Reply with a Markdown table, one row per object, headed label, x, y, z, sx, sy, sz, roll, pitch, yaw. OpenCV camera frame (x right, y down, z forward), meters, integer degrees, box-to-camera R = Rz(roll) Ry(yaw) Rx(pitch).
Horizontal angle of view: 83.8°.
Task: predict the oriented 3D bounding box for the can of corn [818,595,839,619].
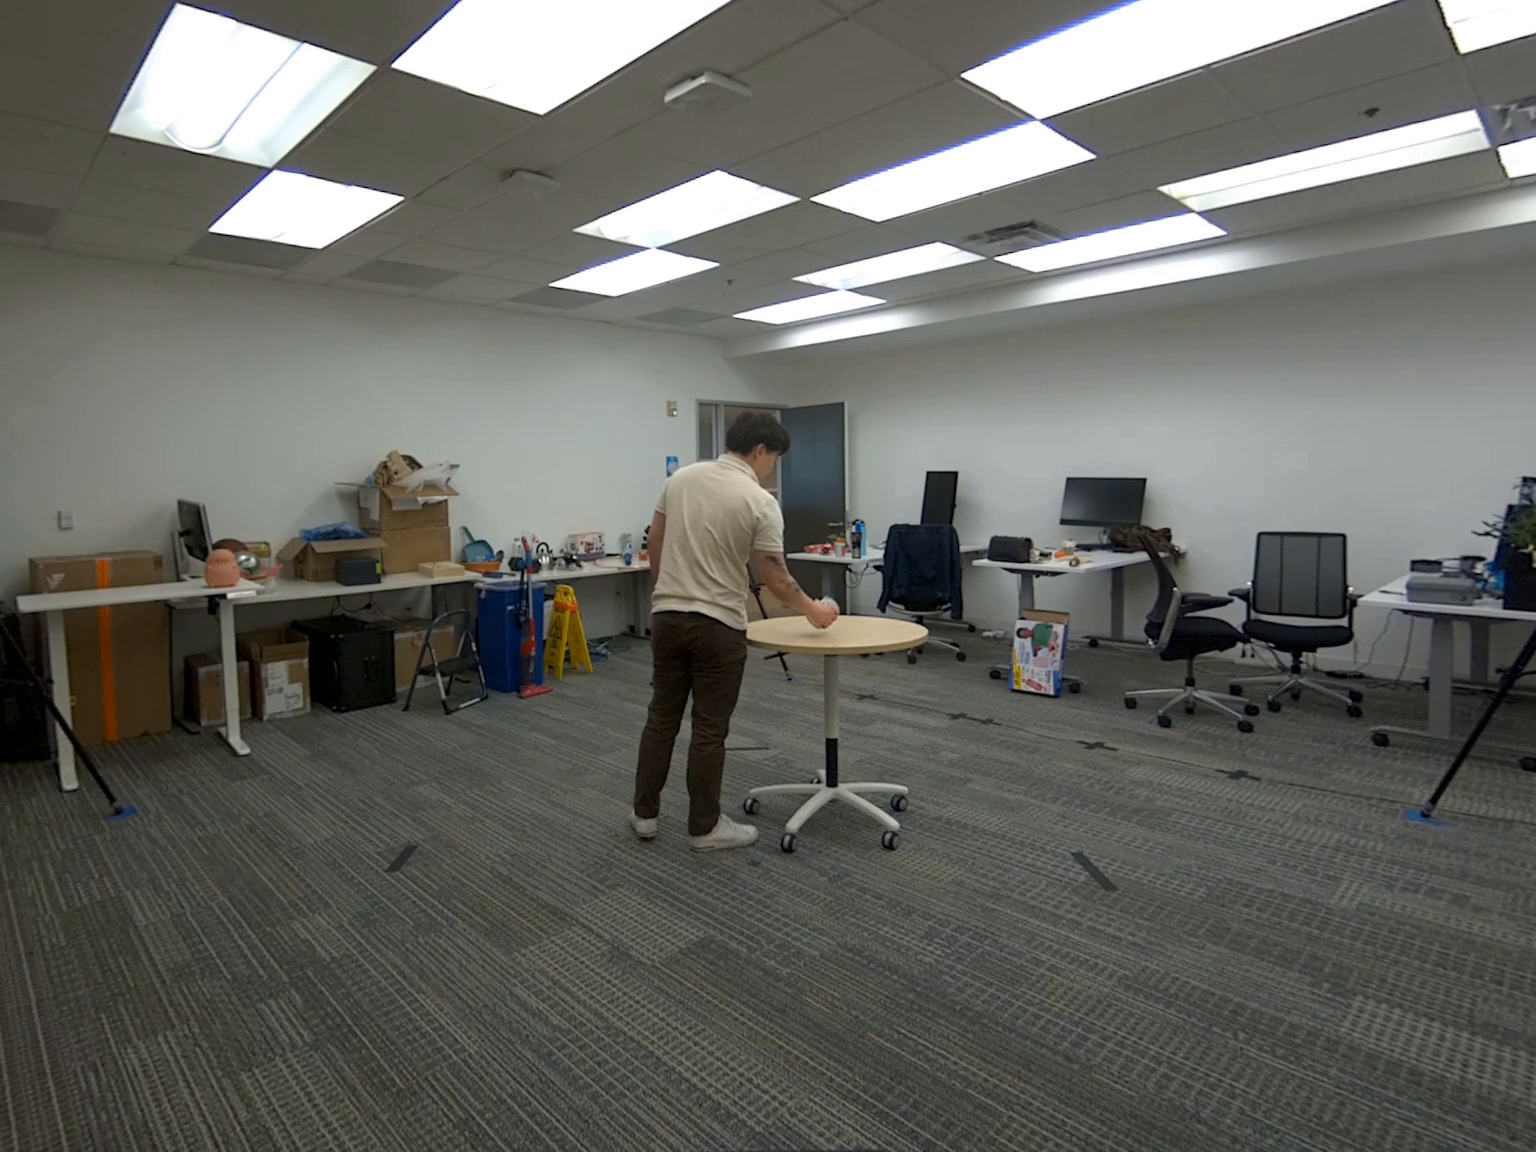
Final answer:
| label | x | y | z | sx | sy | sz | roll | pitch | yaw |
| --- | --- | --- | --- | --- | --- | --- | --- | --- | --- |
| can of corn | 0.217 | 0.145 | 3.338 | 0.111 | 0.072 | 0.076 | -47 | 21 | -15 |
